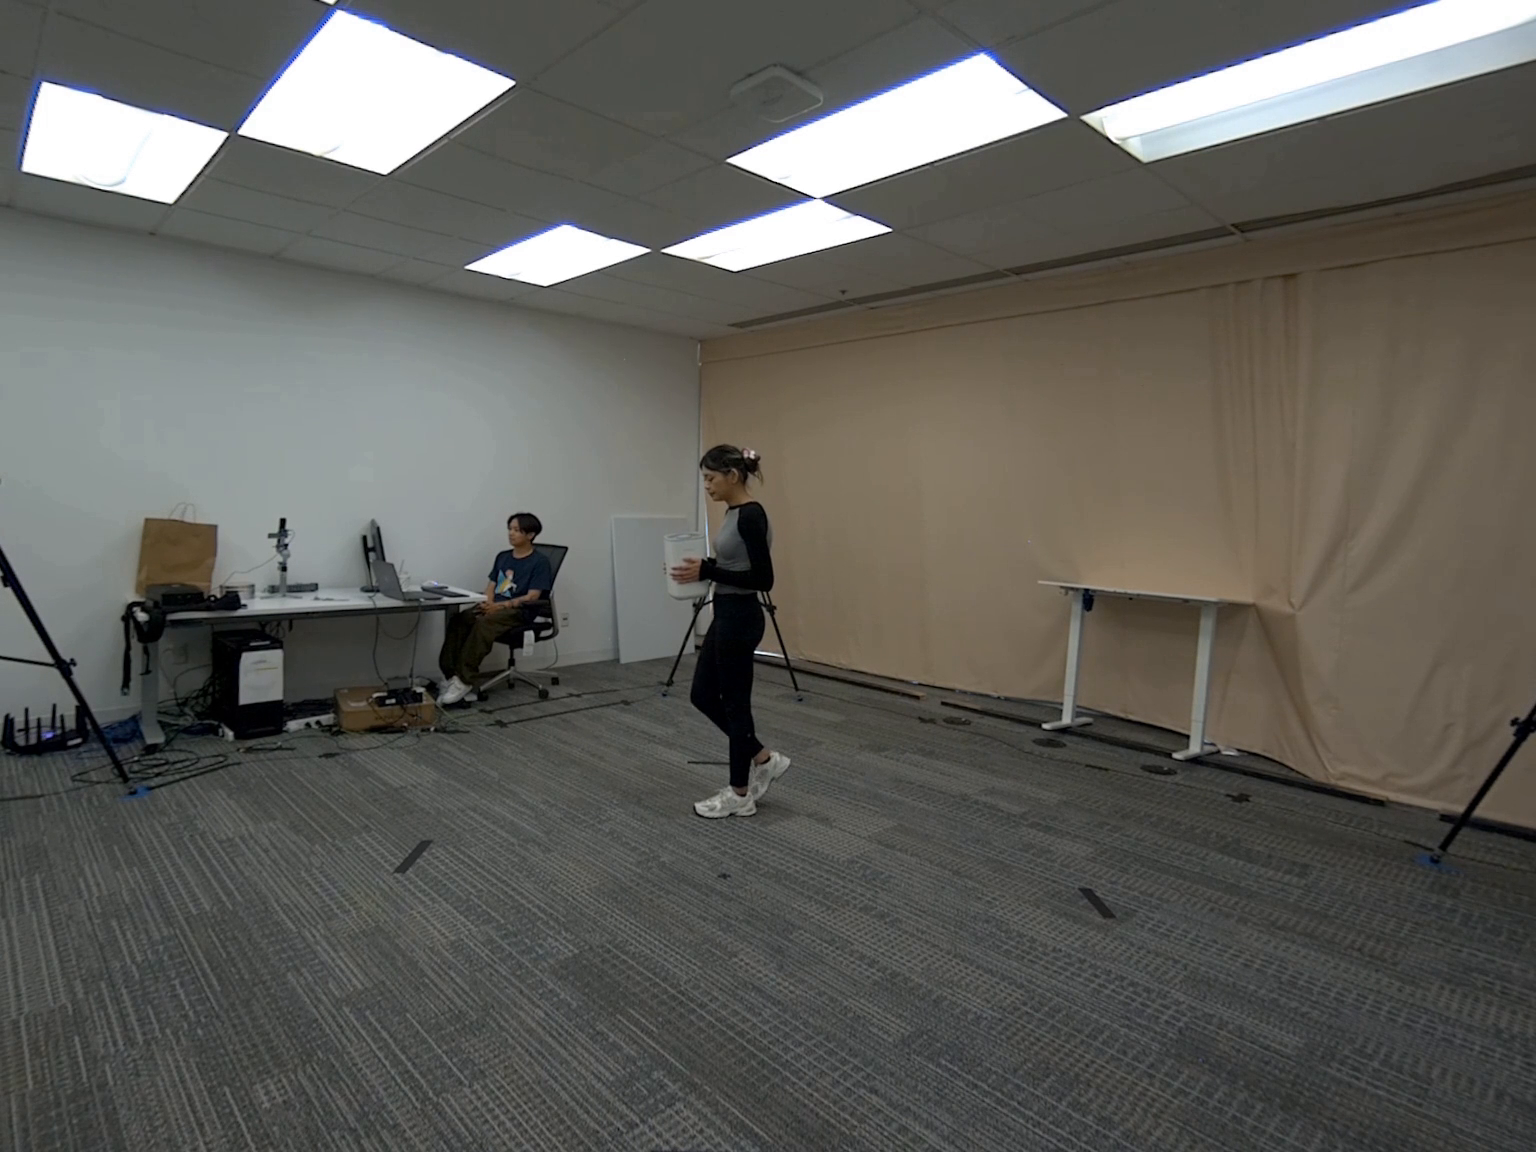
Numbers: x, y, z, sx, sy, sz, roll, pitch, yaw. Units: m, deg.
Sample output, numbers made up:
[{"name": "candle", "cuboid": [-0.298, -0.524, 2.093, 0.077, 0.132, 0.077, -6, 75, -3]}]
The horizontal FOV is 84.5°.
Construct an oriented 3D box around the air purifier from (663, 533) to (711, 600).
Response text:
[{"name": "air purifier", "cuboid": [-0.352, -0.044, 3.627, 0.169, 0.263, 0.175, -5, 10, -14]}]
